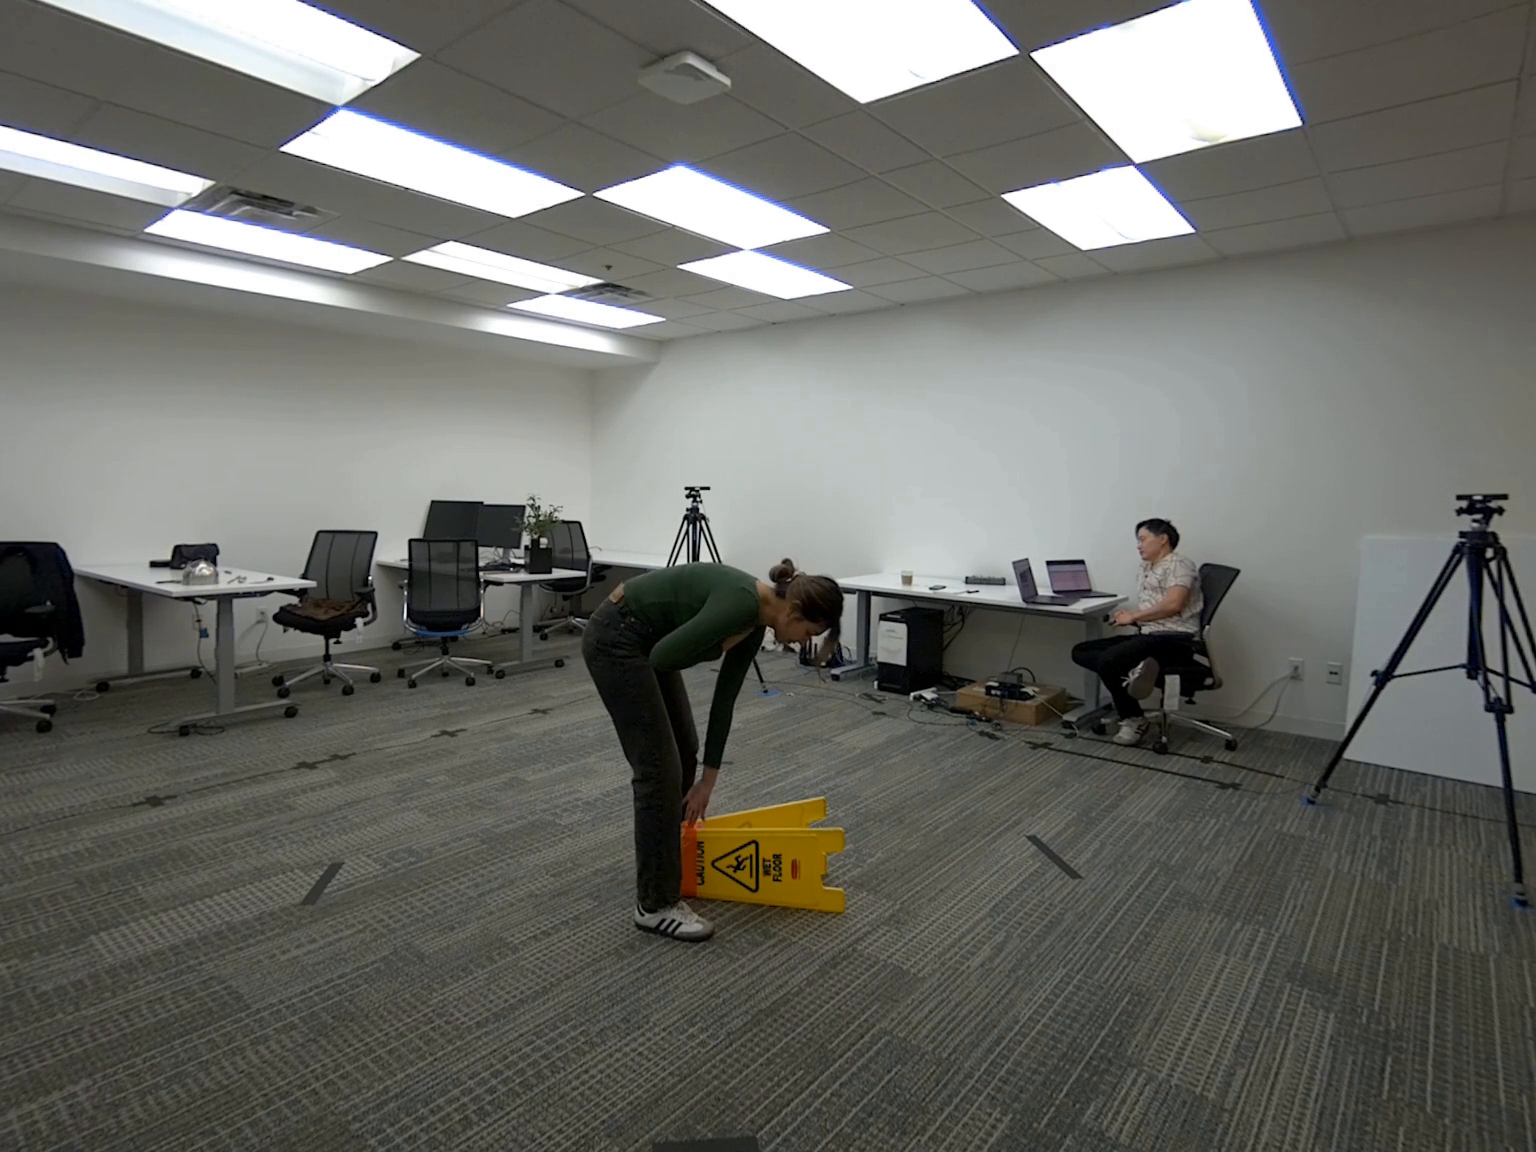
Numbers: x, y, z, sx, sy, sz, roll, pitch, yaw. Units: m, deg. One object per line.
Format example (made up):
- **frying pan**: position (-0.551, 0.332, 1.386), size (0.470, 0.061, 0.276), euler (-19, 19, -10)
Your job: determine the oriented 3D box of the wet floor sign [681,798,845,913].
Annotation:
- **wet floor sign**: position (-0.098, 0.952, 2.911), size (0.643, 0.281, 0.292), euler (-2, 4, -5)
